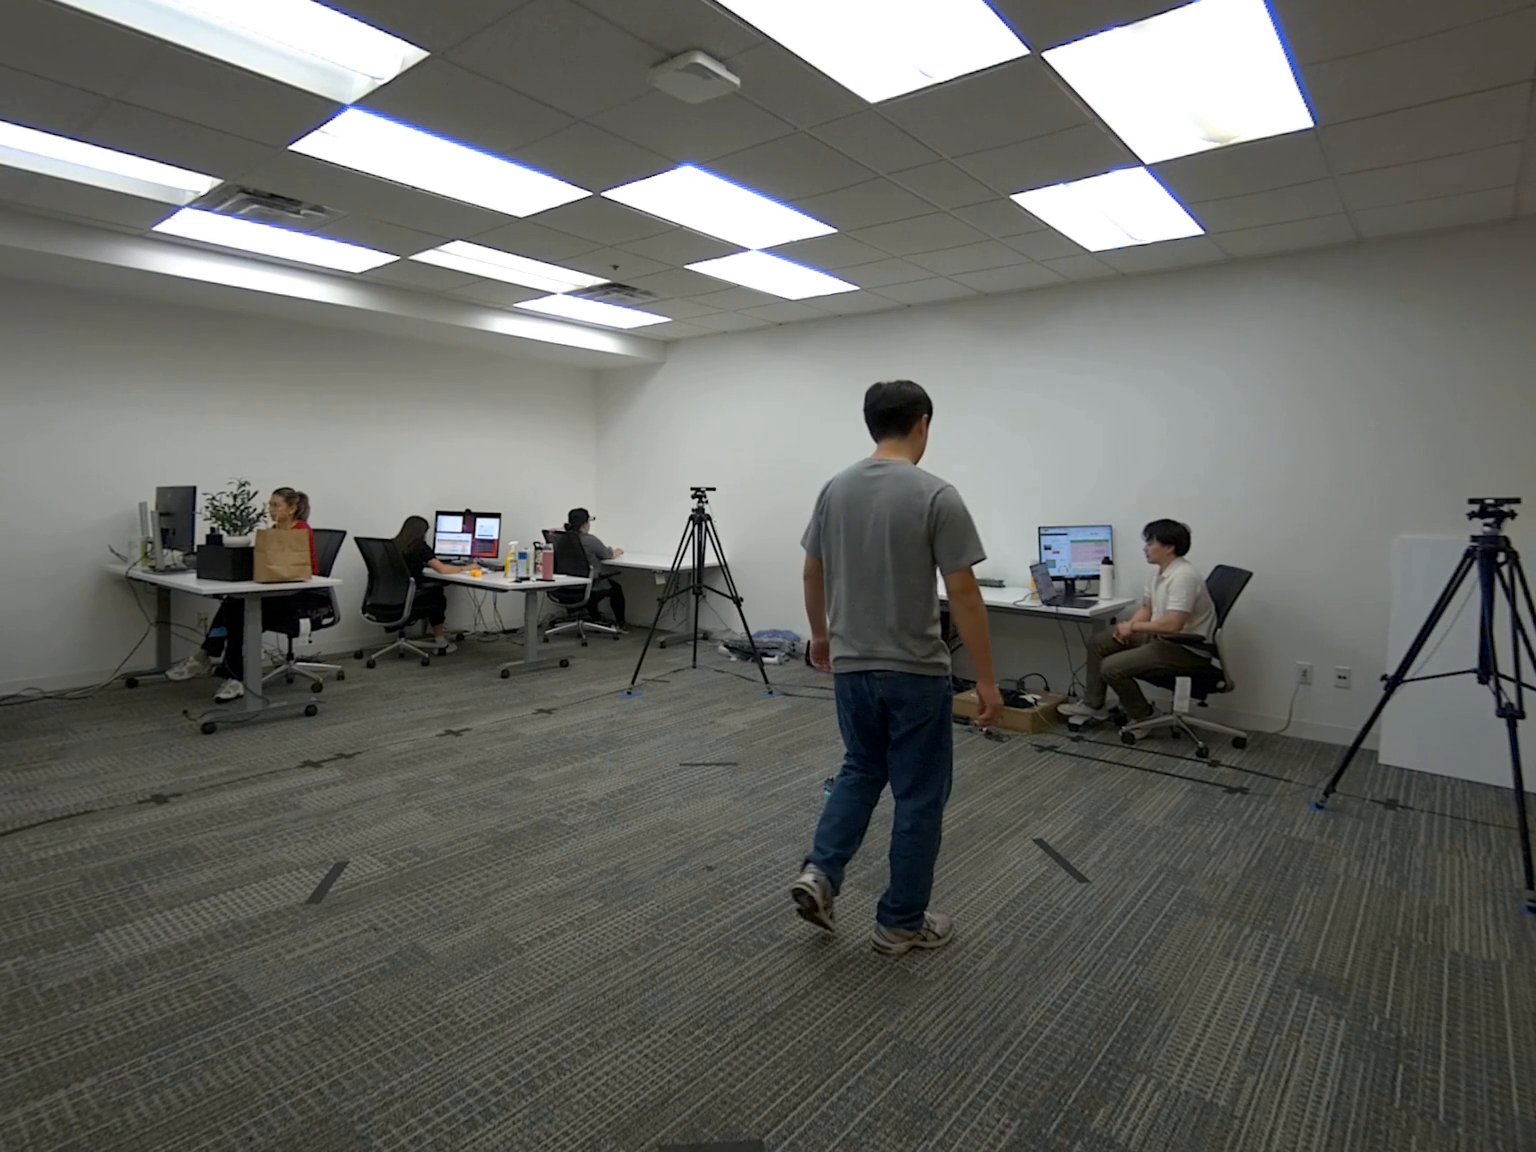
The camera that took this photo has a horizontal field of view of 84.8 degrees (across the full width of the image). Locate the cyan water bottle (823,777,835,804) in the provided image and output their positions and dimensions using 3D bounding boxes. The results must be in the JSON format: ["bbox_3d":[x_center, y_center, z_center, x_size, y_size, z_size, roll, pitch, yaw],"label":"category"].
[{"bbox_3d":[0.255,0.913,3.307,0.092,0.283,0.092,1,2,-2],"label":"cyan water bottle"}]
